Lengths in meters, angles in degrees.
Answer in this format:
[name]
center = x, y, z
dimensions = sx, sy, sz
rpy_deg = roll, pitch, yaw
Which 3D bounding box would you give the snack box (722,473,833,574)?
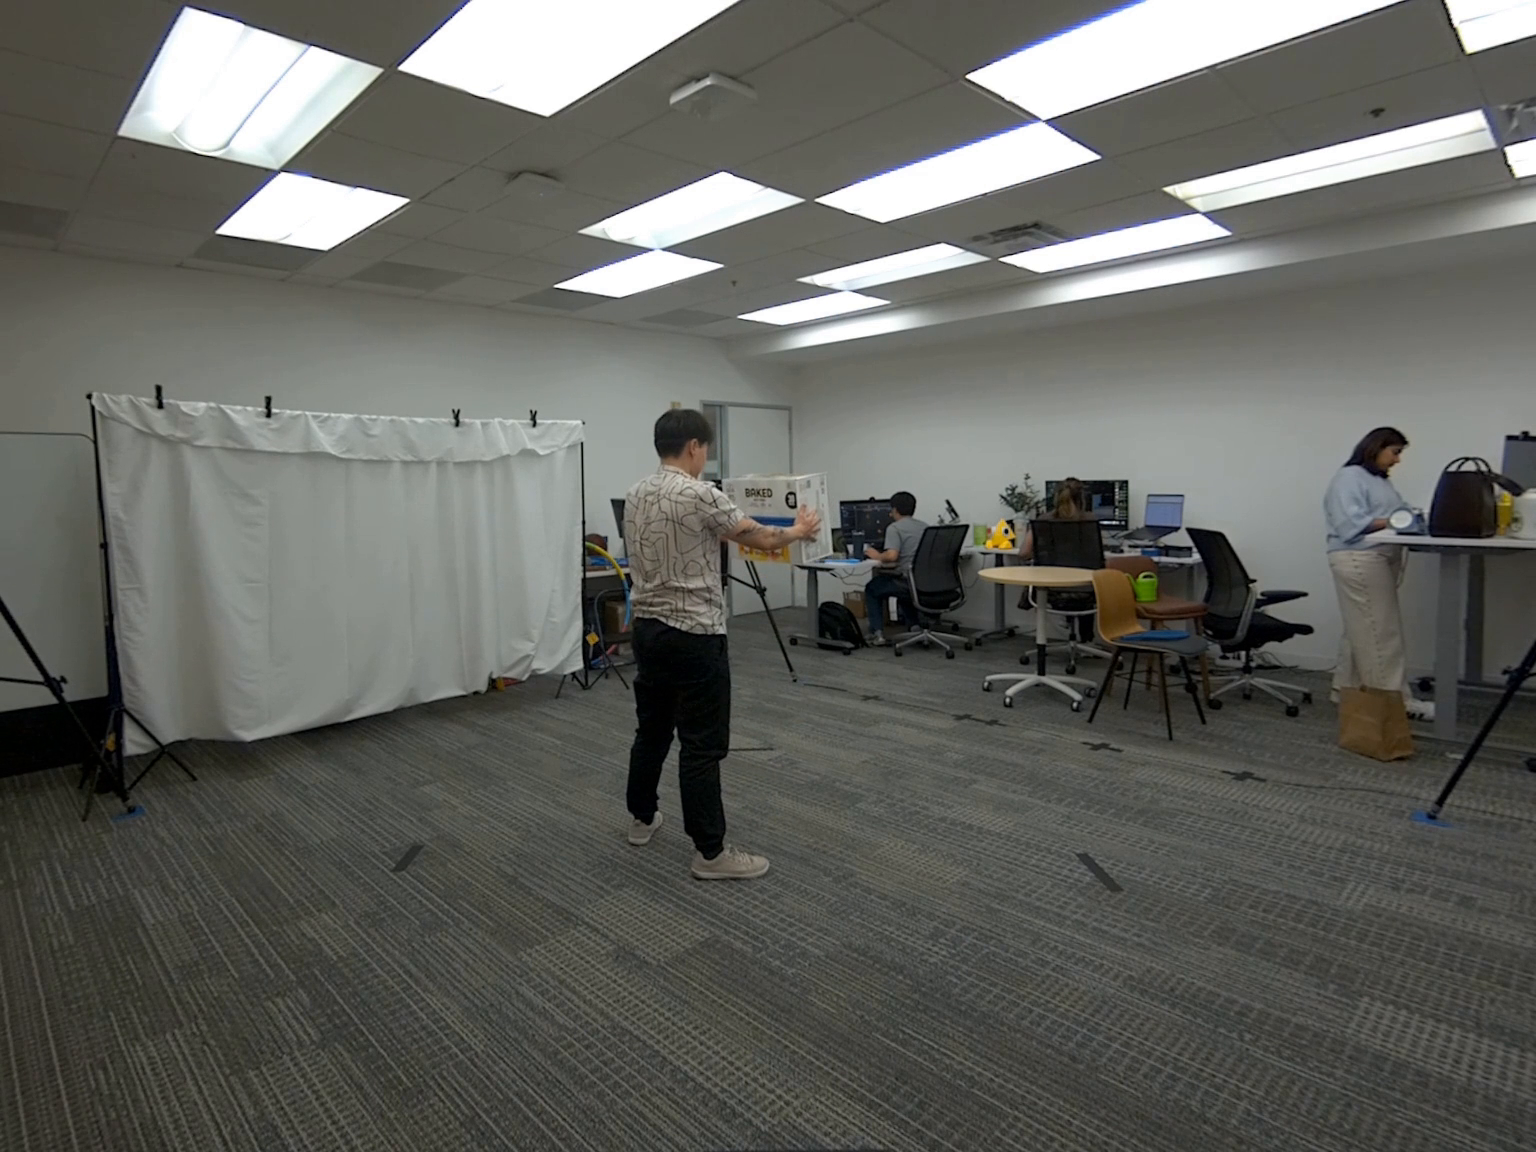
[snack box]
center = 0.038, -0.244, 3.540
dimensions = 0.418, 0.337, 0.201
rpy_deg = 4, 14, 41
